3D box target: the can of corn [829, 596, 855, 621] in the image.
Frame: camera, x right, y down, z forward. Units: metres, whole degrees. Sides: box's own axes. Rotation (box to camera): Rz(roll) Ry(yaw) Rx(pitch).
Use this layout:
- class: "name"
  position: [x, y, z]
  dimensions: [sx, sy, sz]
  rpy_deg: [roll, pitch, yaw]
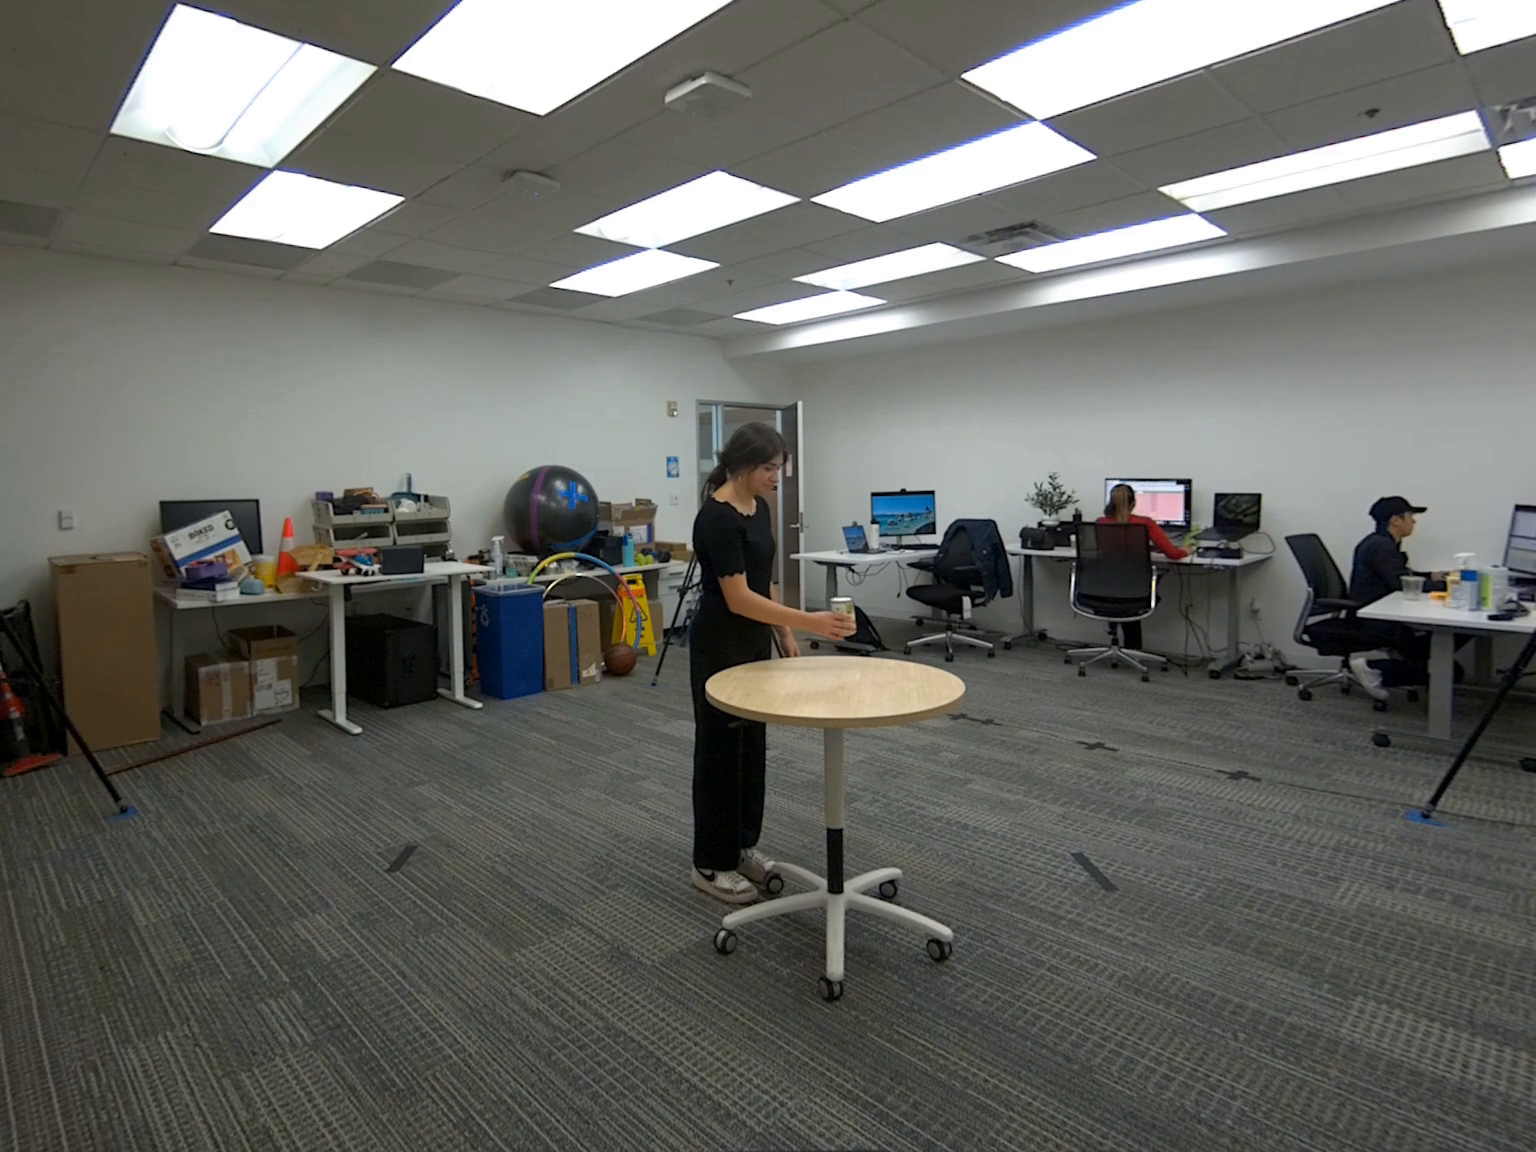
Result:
- class: "can of corn"
  position: [0.242, 0.128, 2.735]
  dimensions: [0.074, 0.110, 0.075]
  rpy_deg: [-5, 8, -1]
